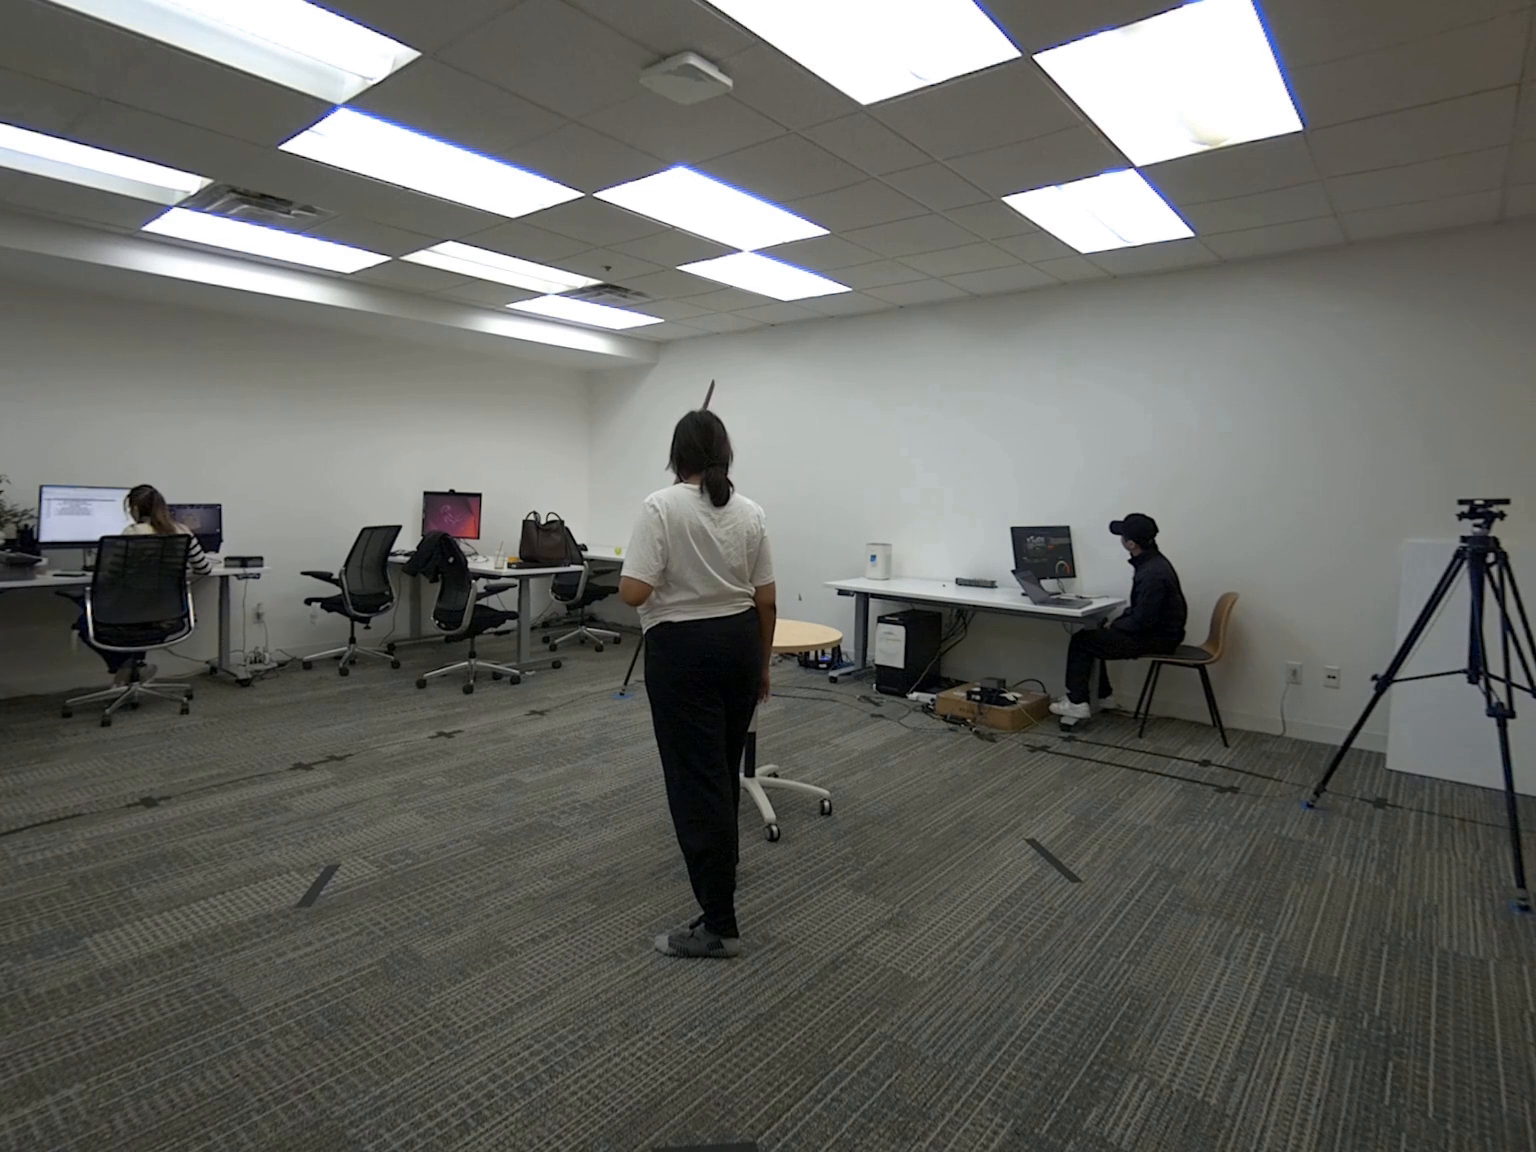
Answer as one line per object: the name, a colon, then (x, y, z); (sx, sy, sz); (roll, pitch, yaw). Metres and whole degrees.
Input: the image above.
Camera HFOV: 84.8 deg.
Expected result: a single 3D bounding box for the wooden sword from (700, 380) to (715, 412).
wooden sword: (-0.338, -0.365, 3.185); (0.049, 1.042, 0.024); (36, -39, -28)
